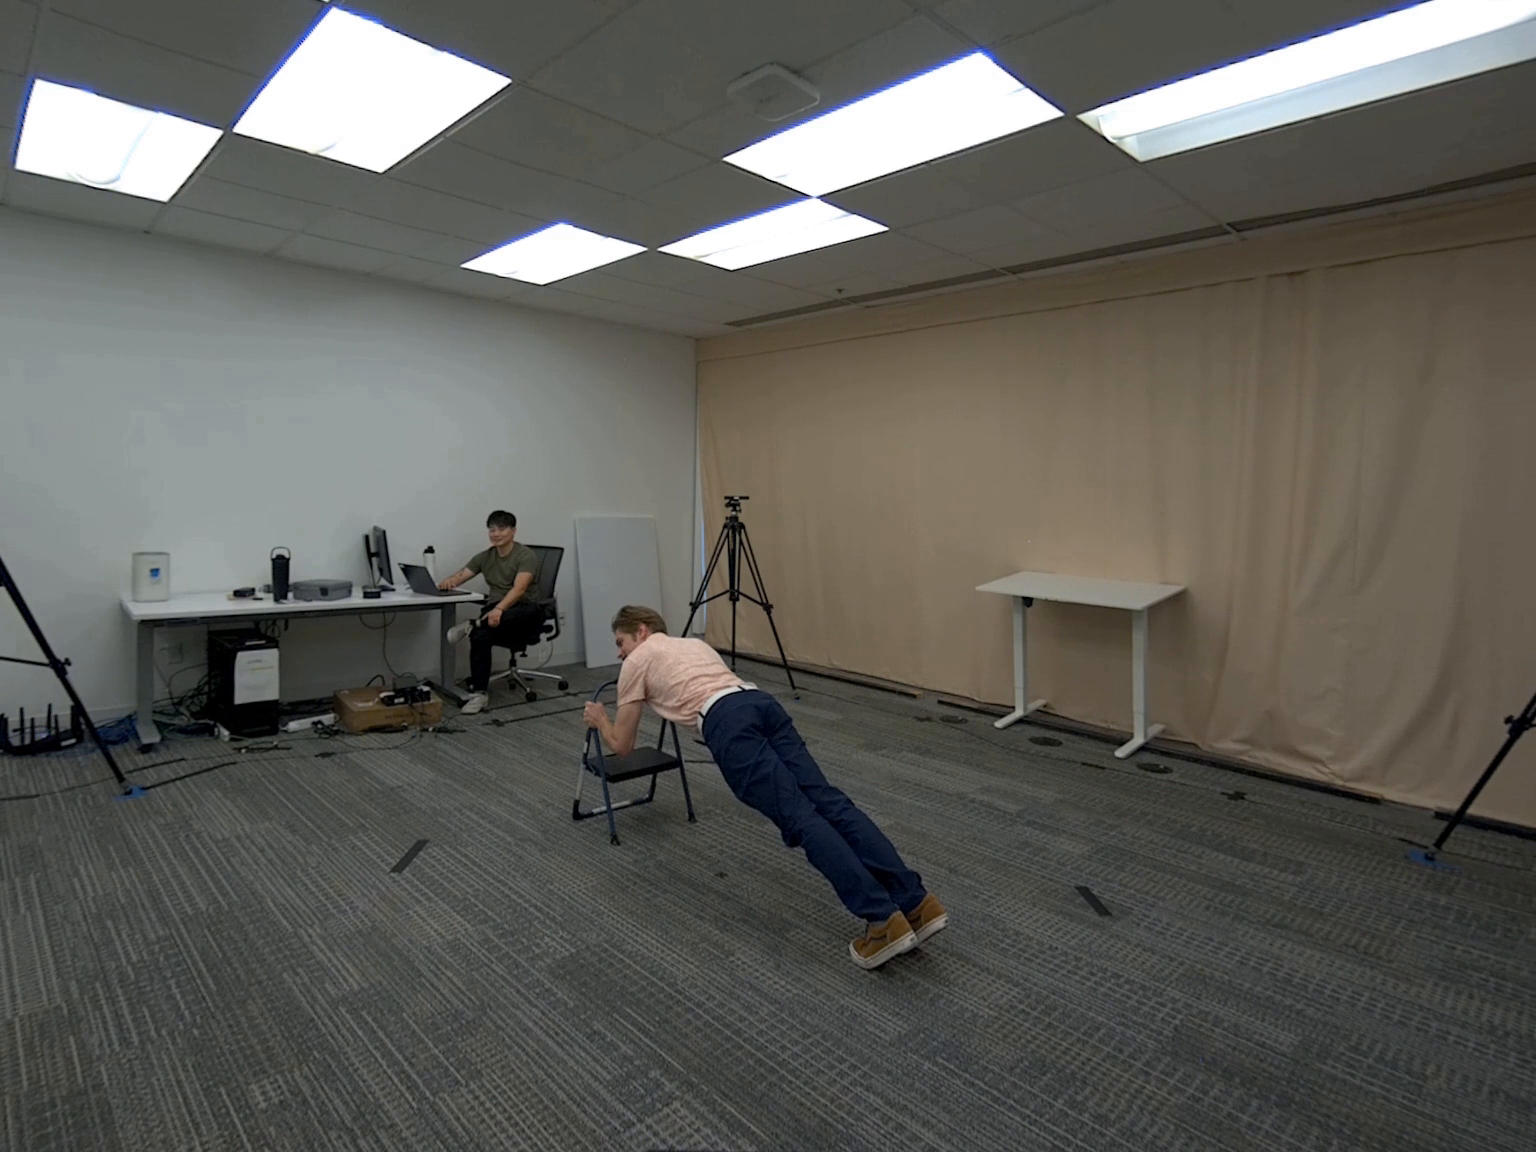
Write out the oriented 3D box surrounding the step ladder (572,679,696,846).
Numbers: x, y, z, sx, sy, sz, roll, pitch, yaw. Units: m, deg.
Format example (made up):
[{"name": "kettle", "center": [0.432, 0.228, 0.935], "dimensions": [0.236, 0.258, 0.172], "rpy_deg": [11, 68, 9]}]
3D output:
[{"name": "step ladder", "center": [-0.576, 0.751, 3.596], "dimensions": [0.421, 0.605, 0.358], "rpy_deg": [-2, 4, -43]}]
